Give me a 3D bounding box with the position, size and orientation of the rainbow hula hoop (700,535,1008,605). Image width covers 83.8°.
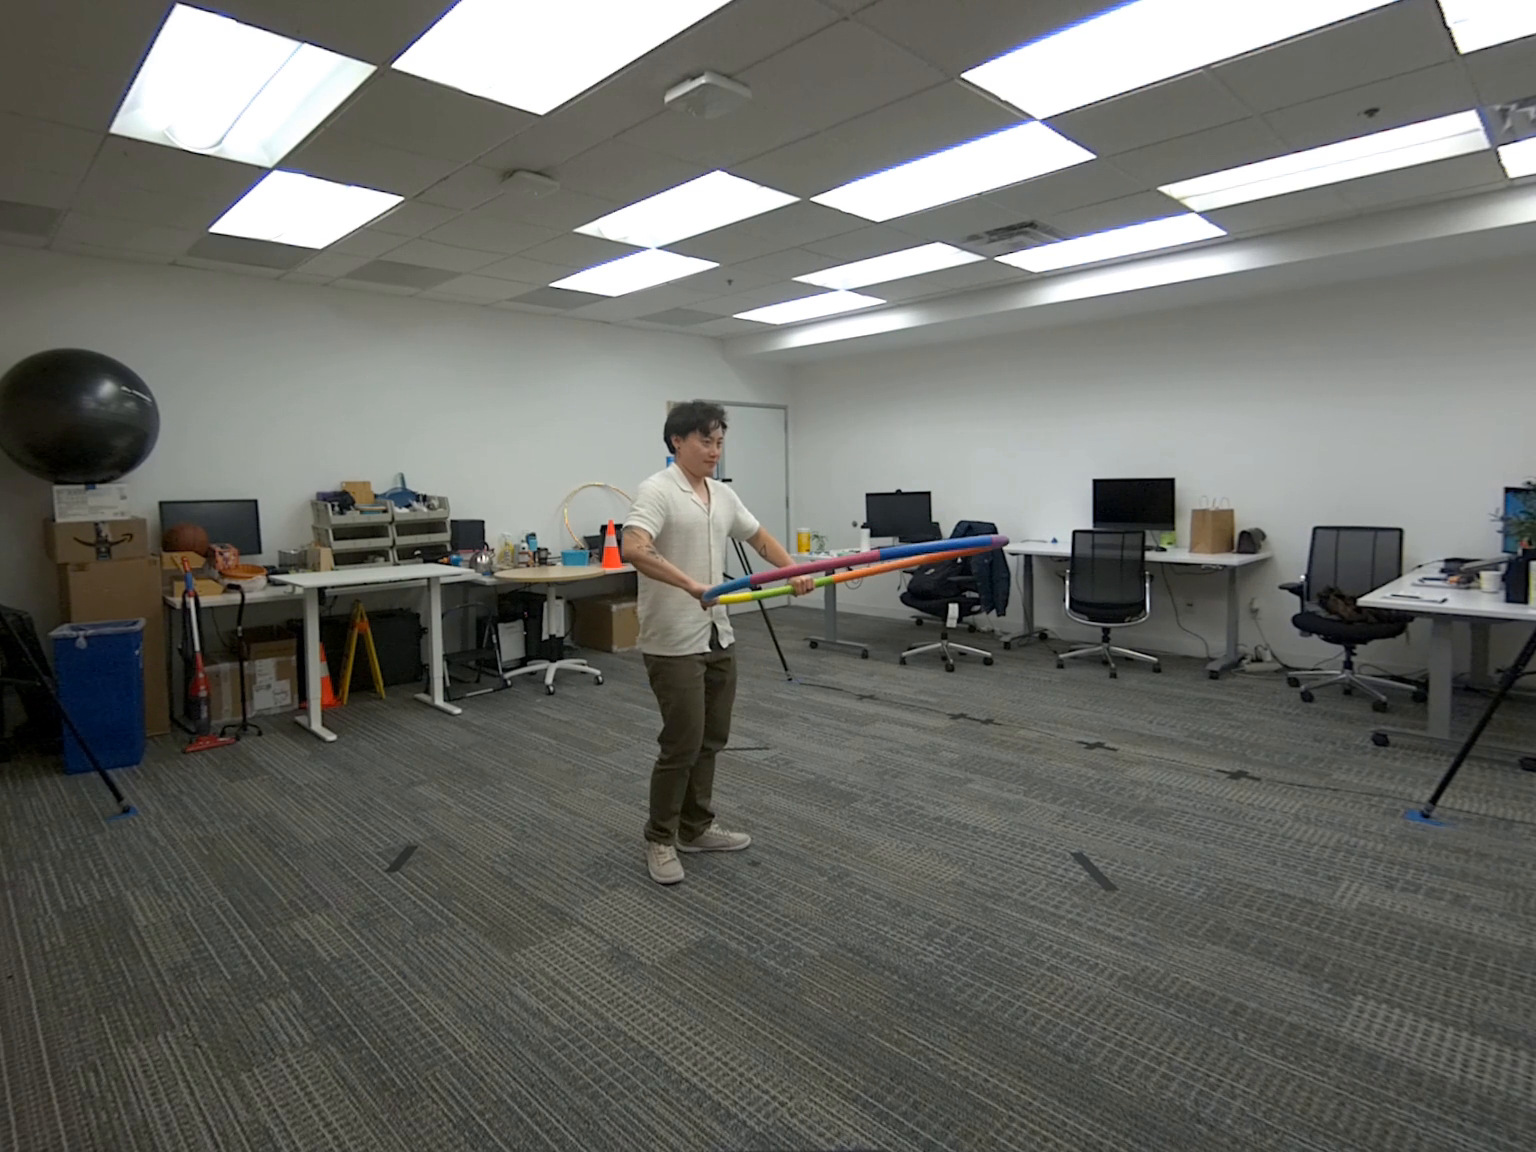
[{"bbox_3d":[0.265,-0.013,2.748,0.977,0.036,0.973,-11,-5,-3],"label":"rainbow hula hoop"}]
